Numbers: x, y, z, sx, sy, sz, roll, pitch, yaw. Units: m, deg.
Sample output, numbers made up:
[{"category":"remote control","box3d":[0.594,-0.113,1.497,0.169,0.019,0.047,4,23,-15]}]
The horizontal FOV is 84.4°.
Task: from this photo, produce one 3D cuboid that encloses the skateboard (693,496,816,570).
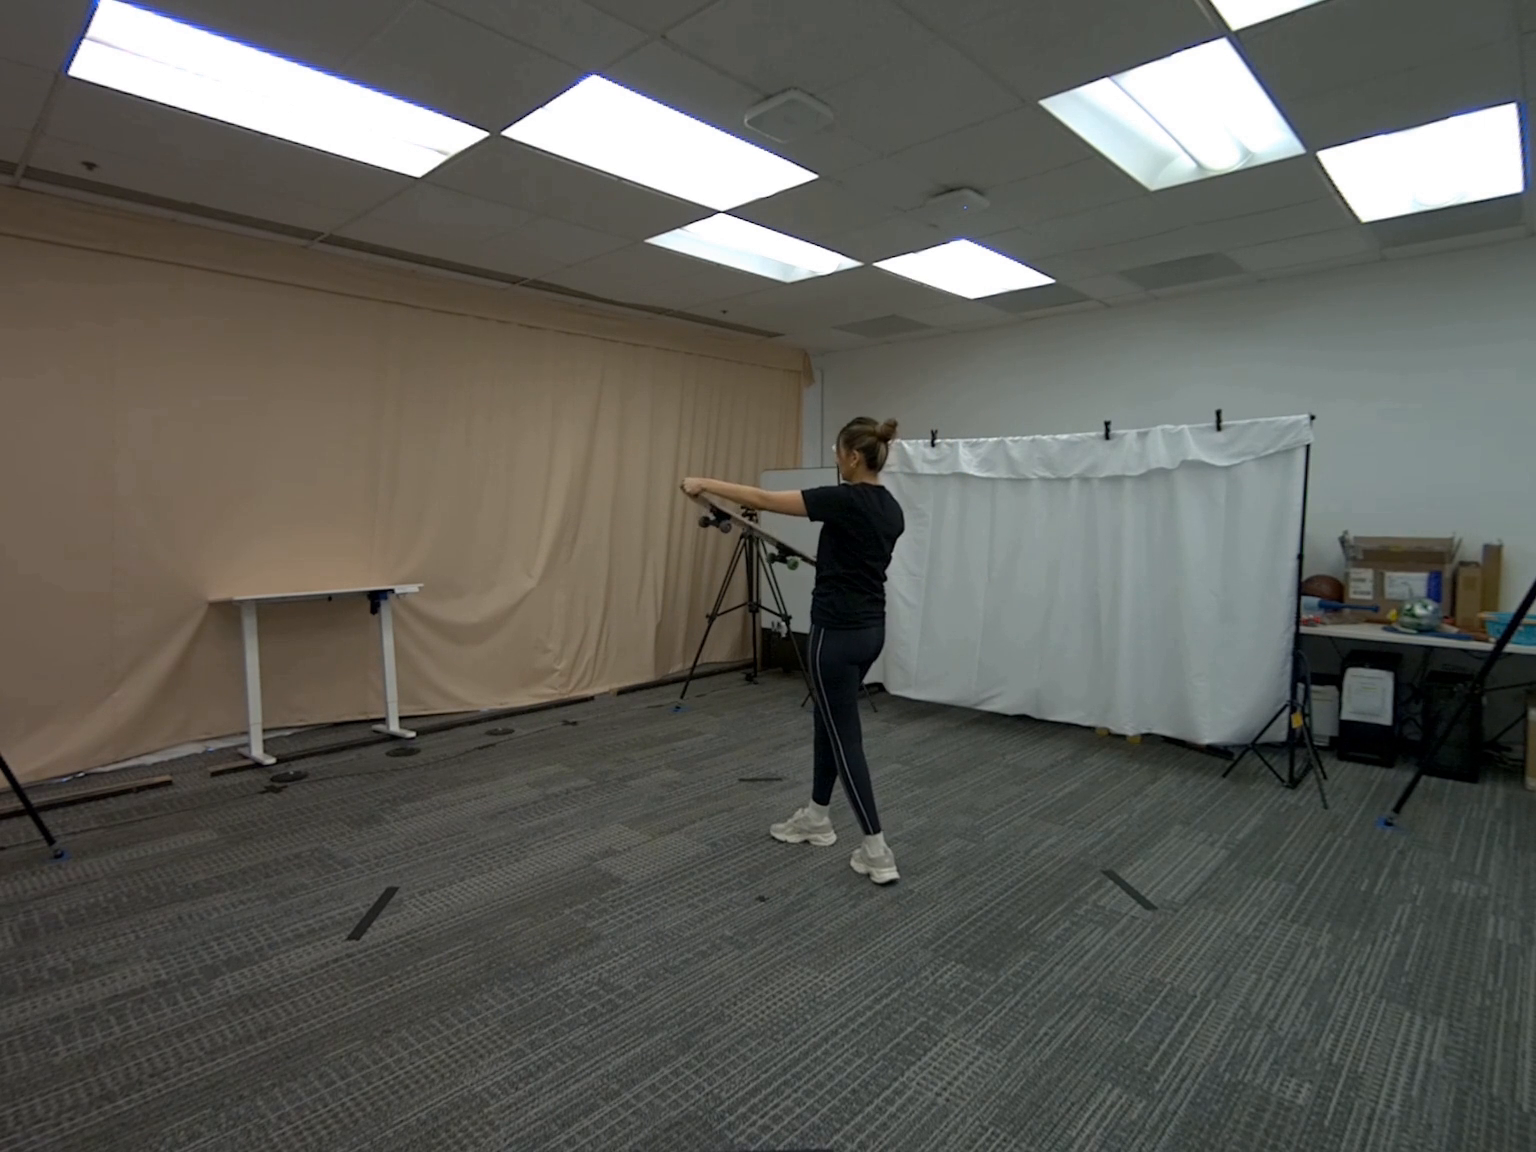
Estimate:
[{"category":"skateboard","box3d":[-0.069,-0.166,3.528,0.758,0.110,0.200,27,-6,-36]}]
